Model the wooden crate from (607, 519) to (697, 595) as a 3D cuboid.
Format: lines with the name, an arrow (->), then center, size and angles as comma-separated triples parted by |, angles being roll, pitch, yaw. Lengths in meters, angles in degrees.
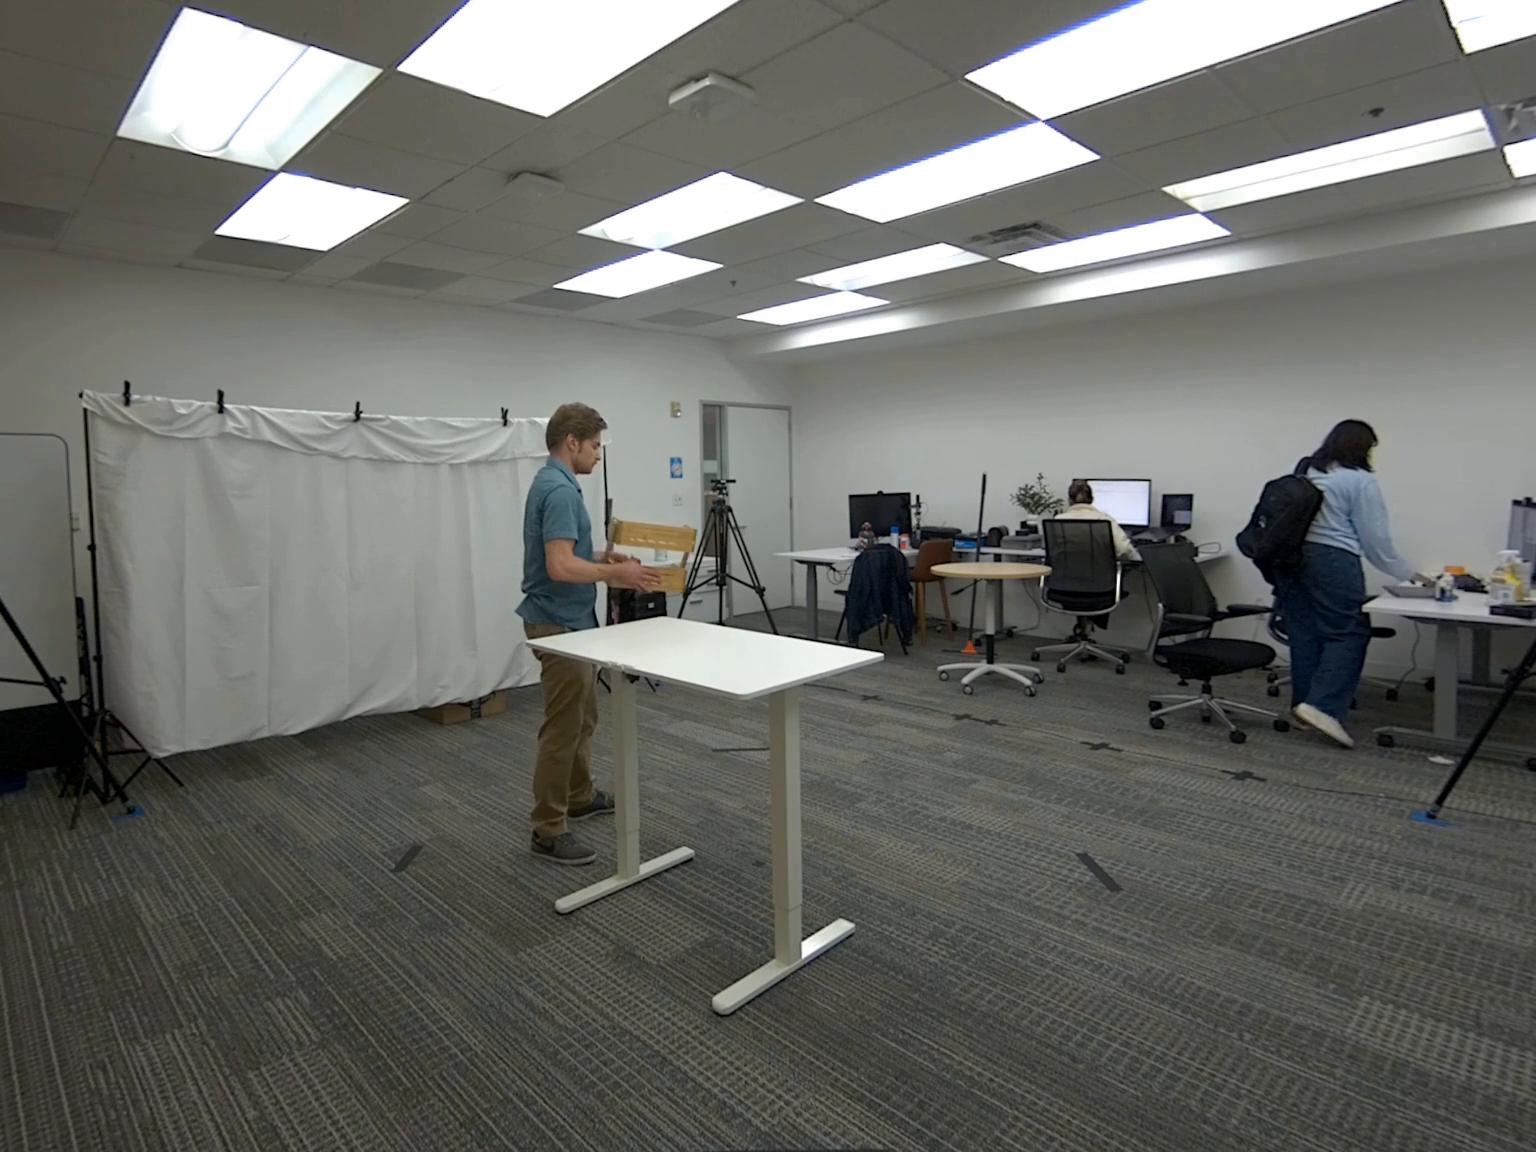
wooden crate -> -0.487, -0.095, 3.376 | 0.318, 0.272, 0.310 | 5, 7, -22
